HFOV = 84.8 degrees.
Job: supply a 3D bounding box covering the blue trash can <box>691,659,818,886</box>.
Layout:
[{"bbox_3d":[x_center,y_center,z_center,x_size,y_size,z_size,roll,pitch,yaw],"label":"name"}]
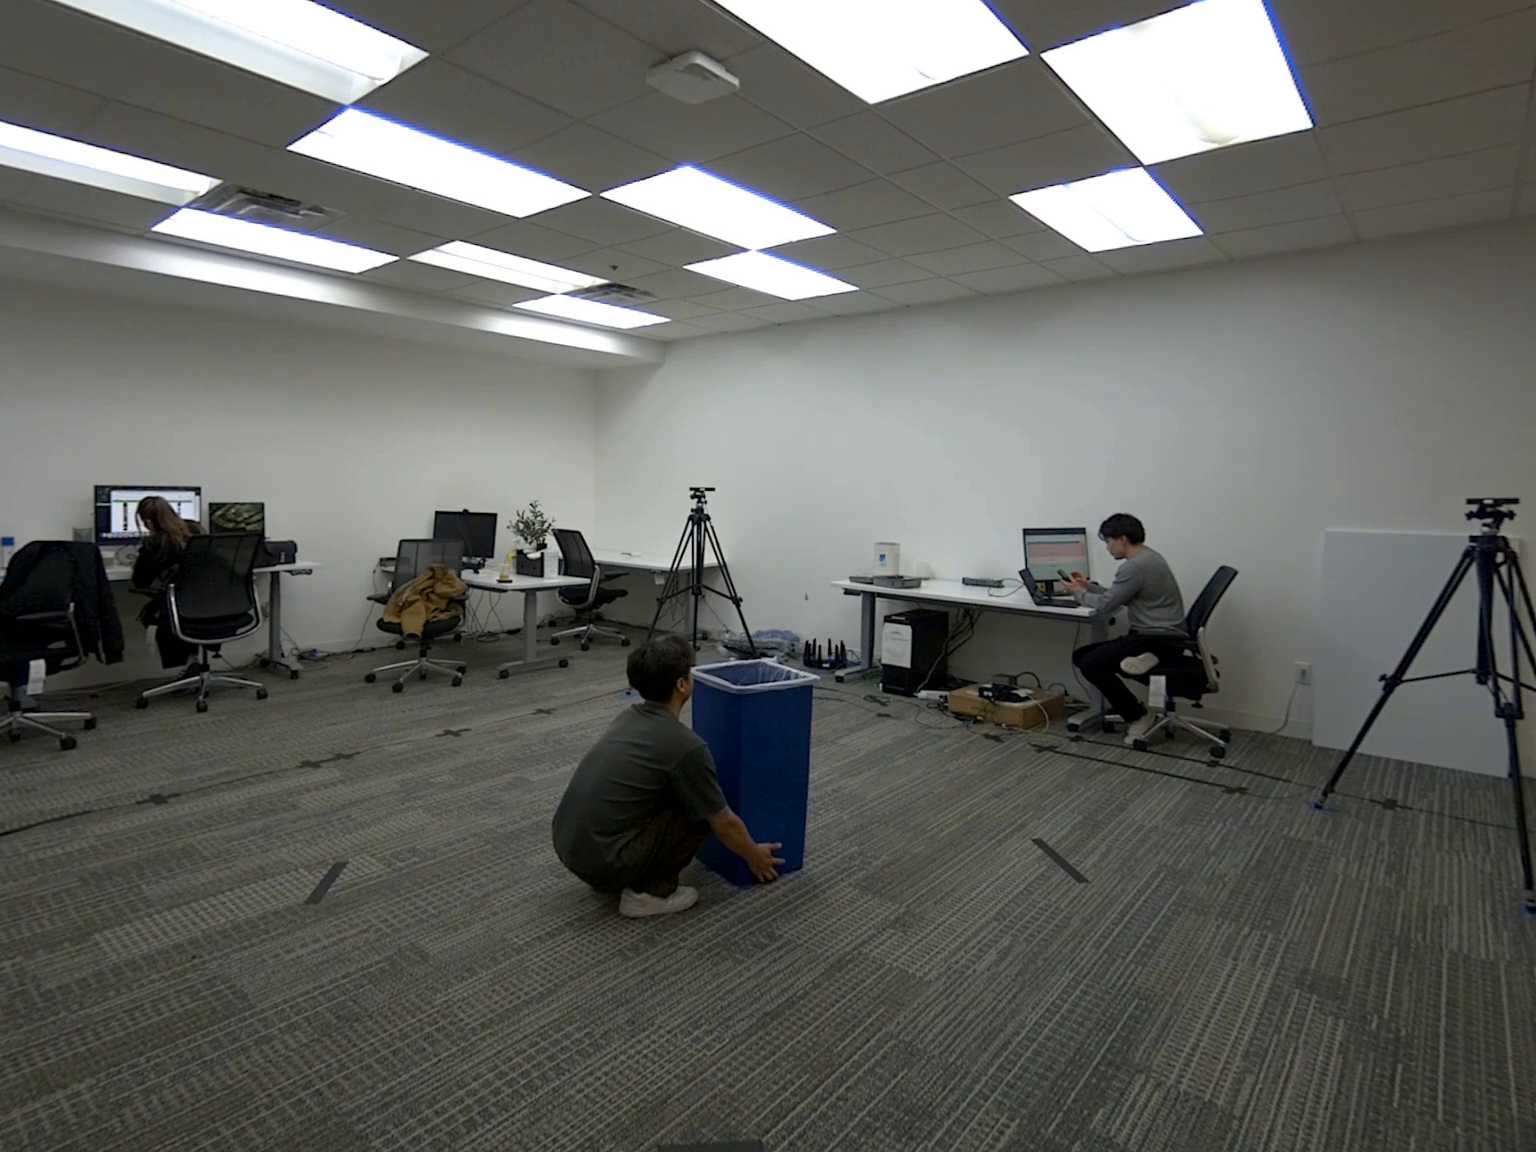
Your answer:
[{"bbox_3d":[-0.079,0.702,3.164,0.367,0.711,0.386,-1,5,-35],"label":"blue trash can"}]
